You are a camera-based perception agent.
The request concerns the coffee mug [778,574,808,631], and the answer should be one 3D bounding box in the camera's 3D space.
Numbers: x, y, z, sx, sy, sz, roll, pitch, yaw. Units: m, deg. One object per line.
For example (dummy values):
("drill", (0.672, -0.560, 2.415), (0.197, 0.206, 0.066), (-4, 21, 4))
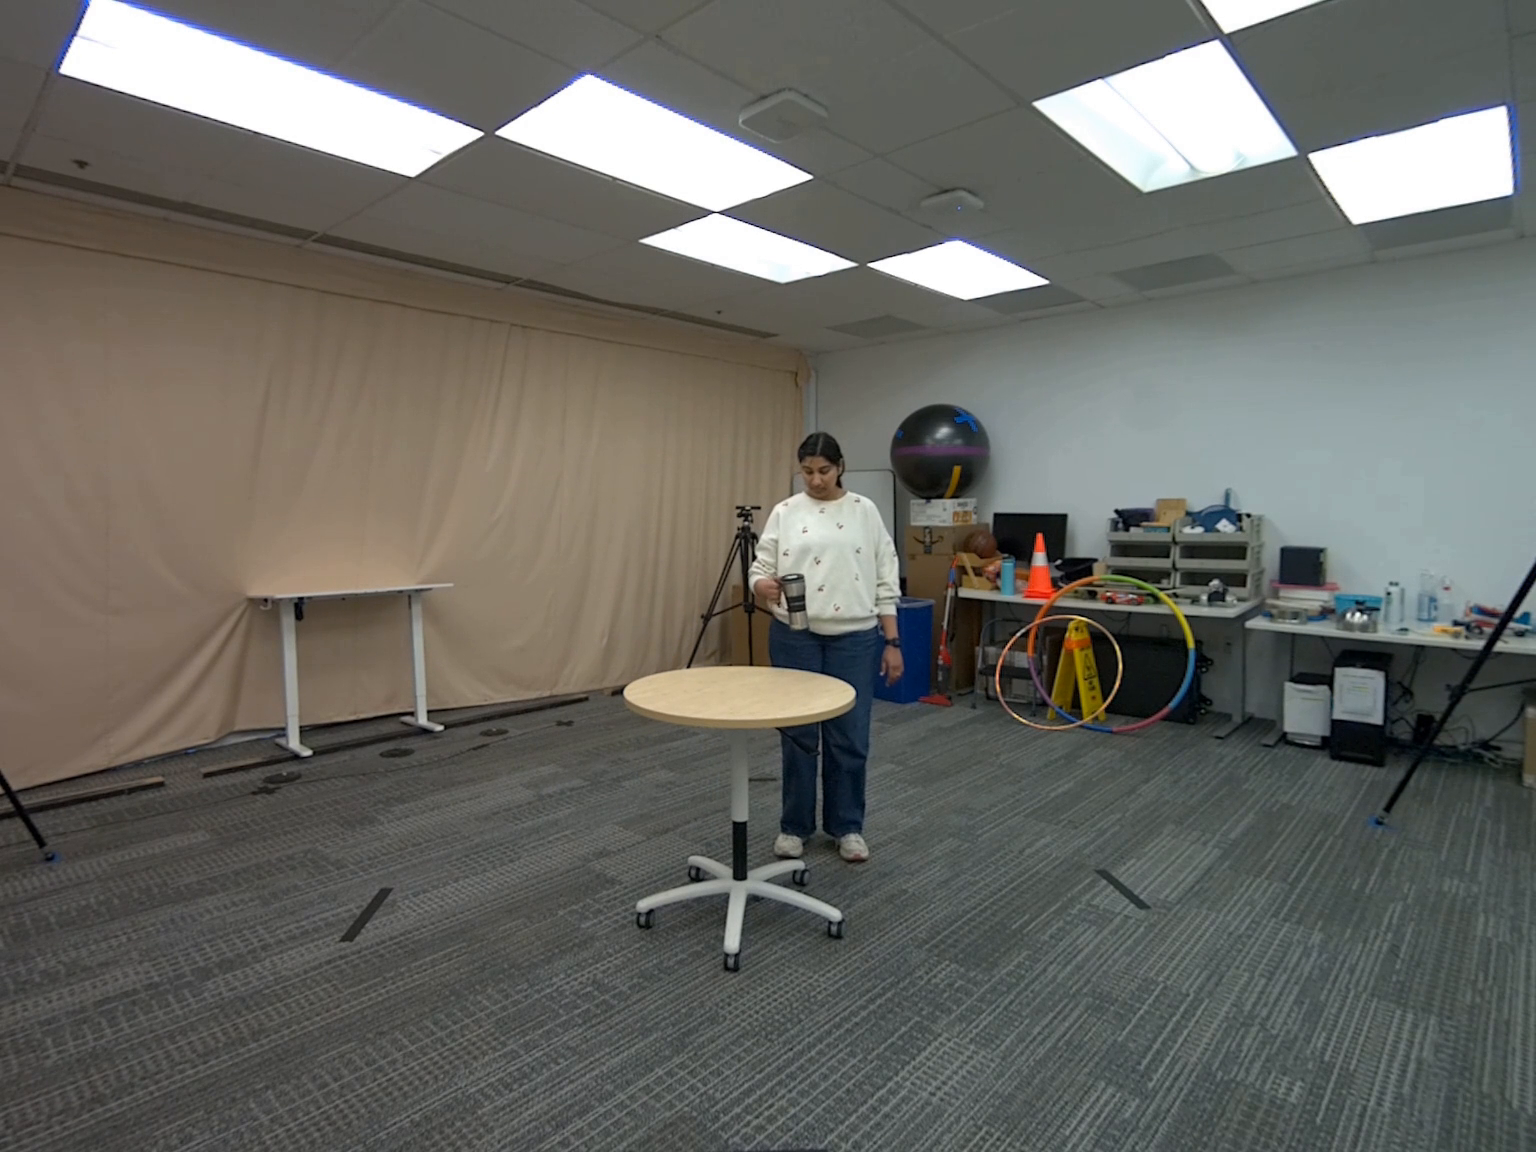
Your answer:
("coffee mug", (0.098, 0.100, 3.071), (0.087, 0.201, 0.123), (-10, 9, -6))
